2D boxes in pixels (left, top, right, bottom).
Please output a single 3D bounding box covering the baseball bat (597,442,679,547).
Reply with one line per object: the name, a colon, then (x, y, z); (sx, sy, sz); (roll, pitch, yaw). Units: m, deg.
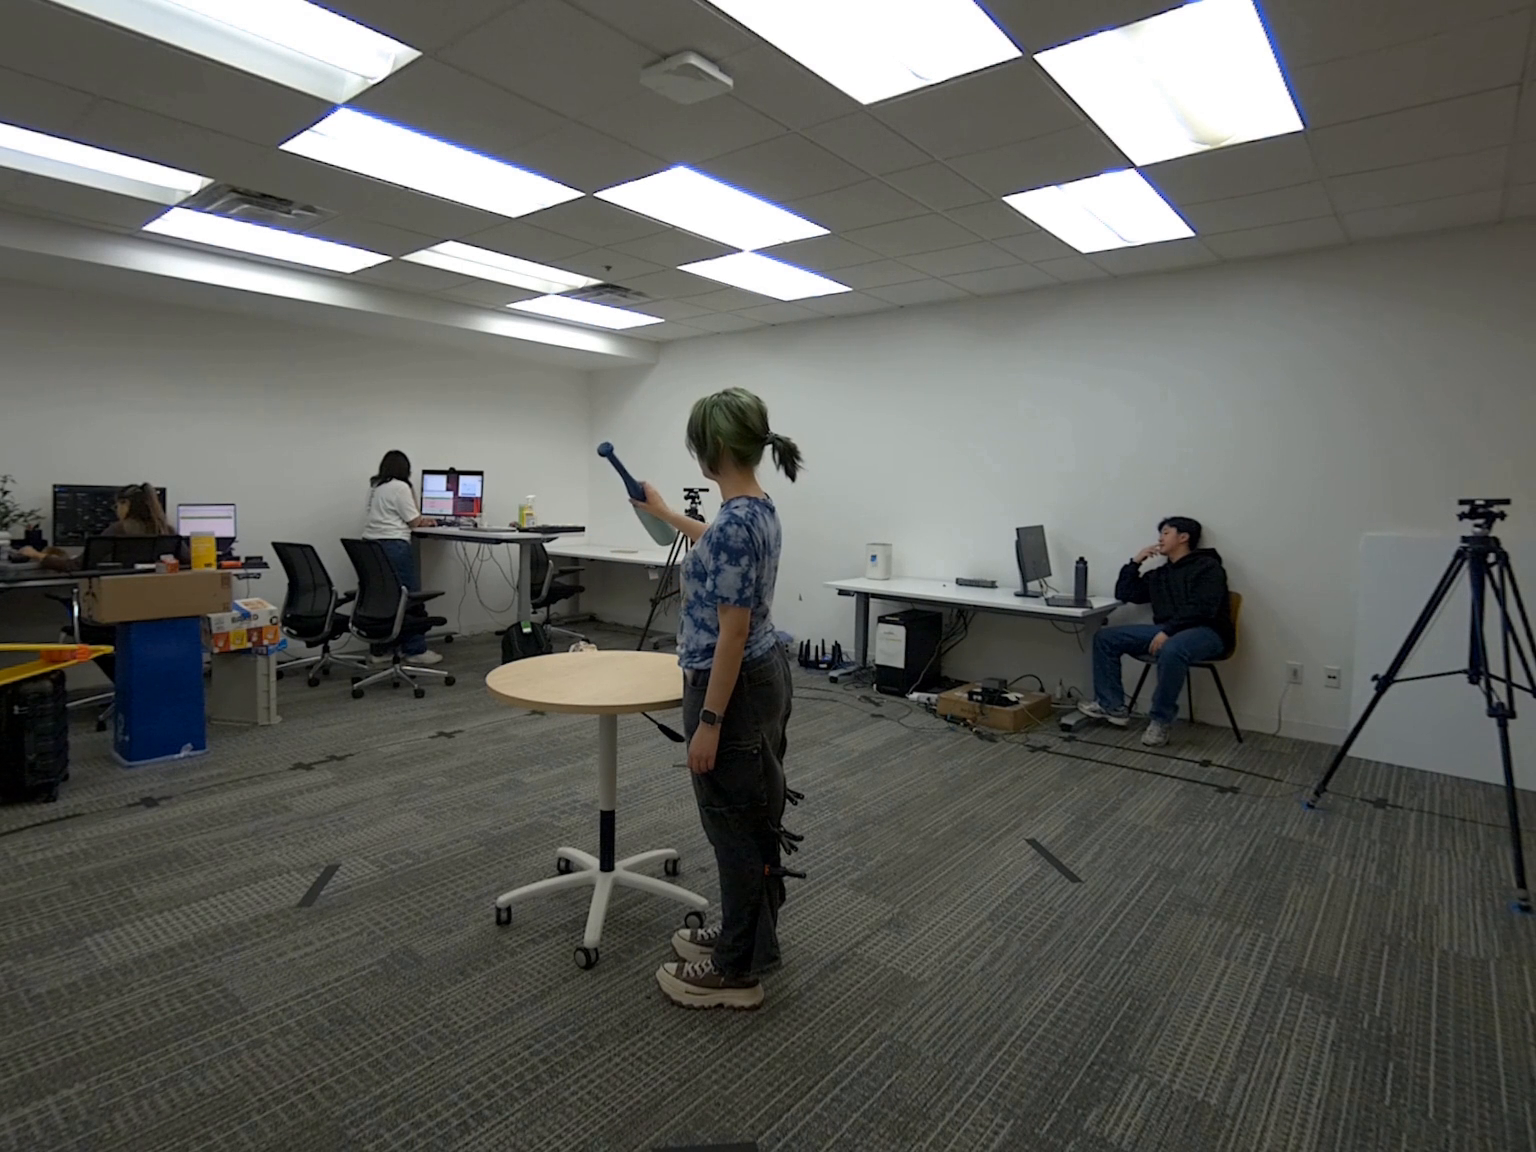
baseball bat: (-0.439, -0.259, 2.723); (0.091, 0.090, 0.523); (3, -27, 18)
